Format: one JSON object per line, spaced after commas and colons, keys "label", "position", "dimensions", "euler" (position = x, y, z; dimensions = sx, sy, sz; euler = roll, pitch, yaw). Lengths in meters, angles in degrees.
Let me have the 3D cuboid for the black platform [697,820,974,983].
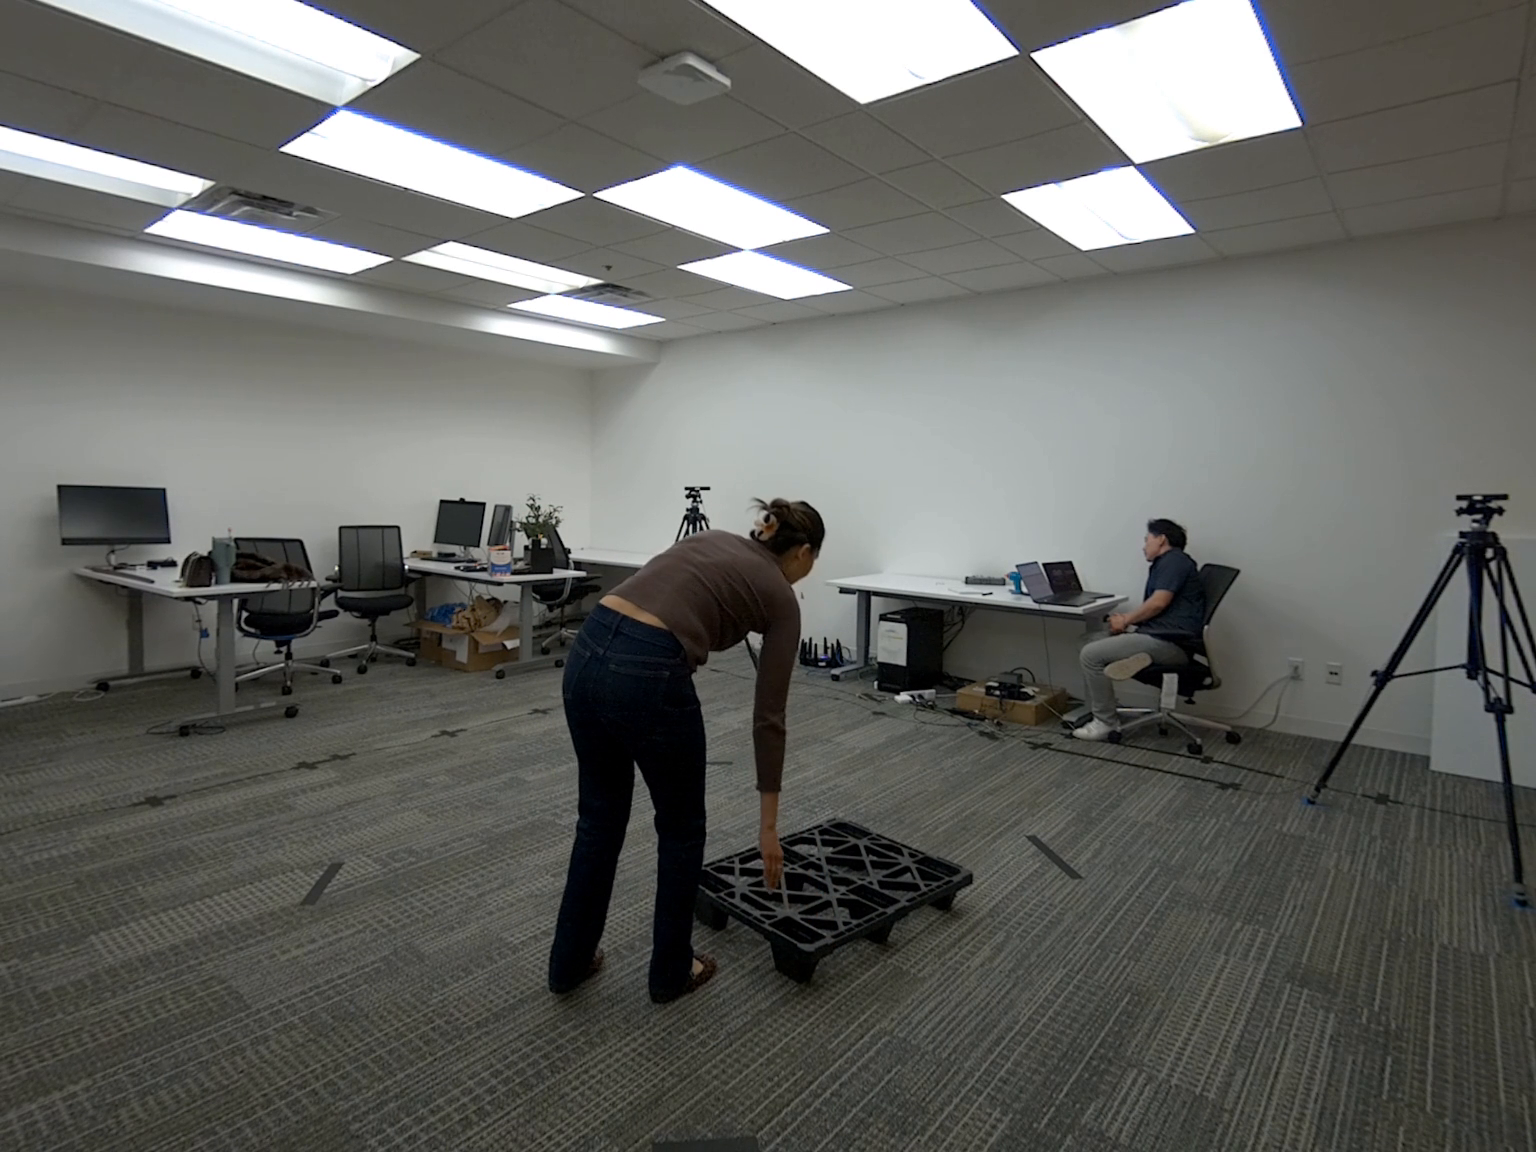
{"label": "black platform", "position": [0.179, 1.037, 2.793], "dimensions": [0.781, 0.143, 0.626], "euler": [-4, 7, -42]}
